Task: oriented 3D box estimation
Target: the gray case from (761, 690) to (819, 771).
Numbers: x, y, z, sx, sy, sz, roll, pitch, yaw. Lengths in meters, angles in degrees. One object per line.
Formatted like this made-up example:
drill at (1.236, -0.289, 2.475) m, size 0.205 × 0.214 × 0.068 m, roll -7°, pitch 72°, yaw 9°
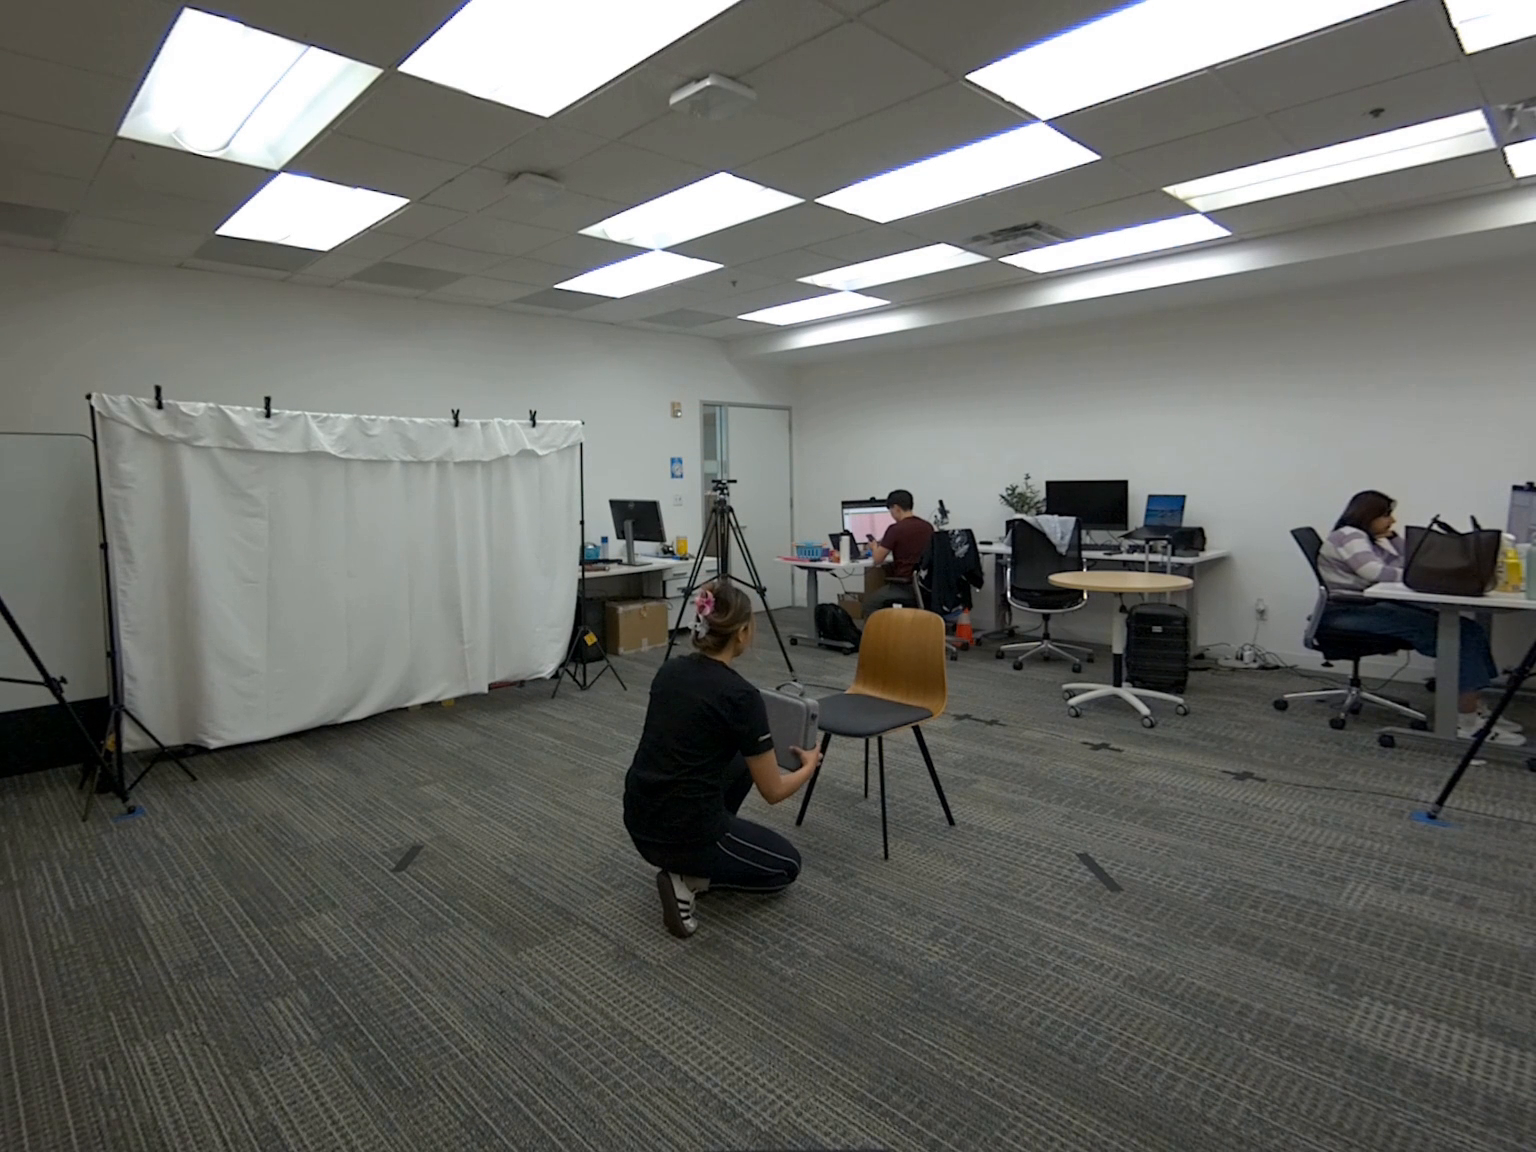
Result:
gray case at (0.047, 0.535, 3.050) m, size 0.101 × 0.260 × 0.265 m, roll 6°, pitch 2°, yaw -44°
